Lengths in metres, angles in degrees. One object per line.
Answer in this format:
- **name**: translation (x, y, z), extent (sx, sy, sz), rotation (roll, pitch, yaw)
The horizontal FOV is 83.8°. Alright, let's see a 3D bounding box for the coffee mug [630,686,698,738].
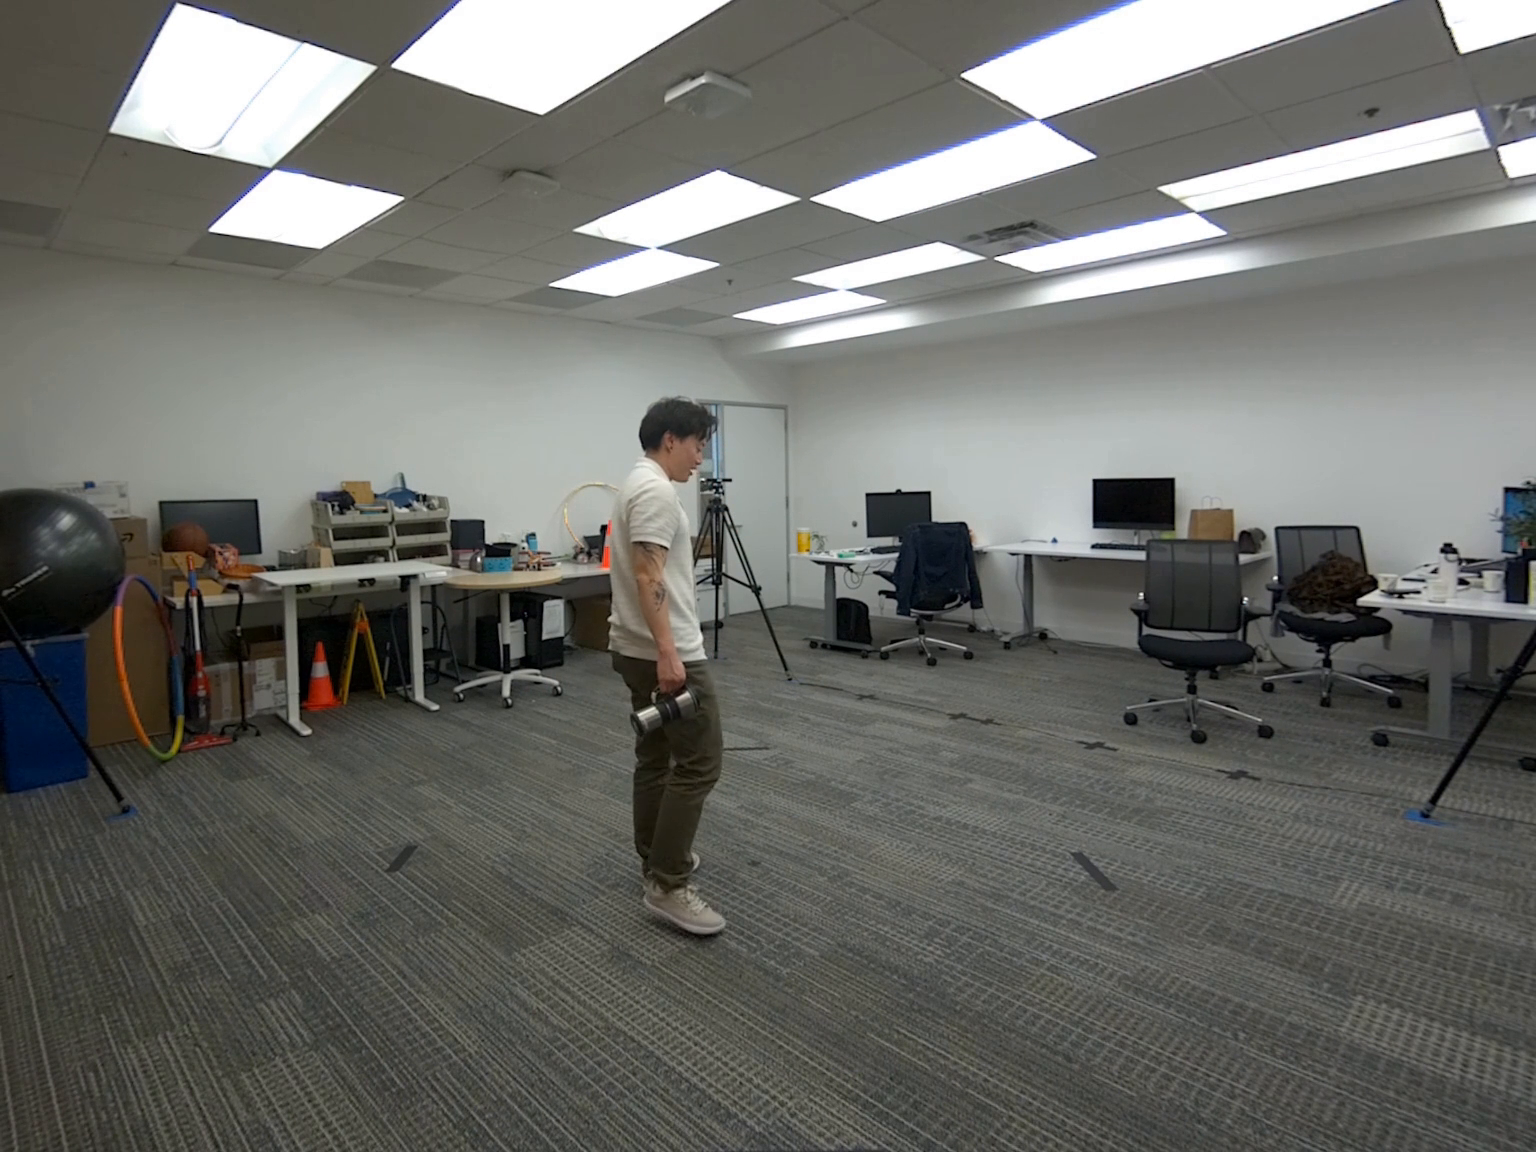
- **coffee mug**: translation (-0.318, 0.381, 2.526), extent (0.201, 0.122, 0.089), rotation (-19, 0, -19)
